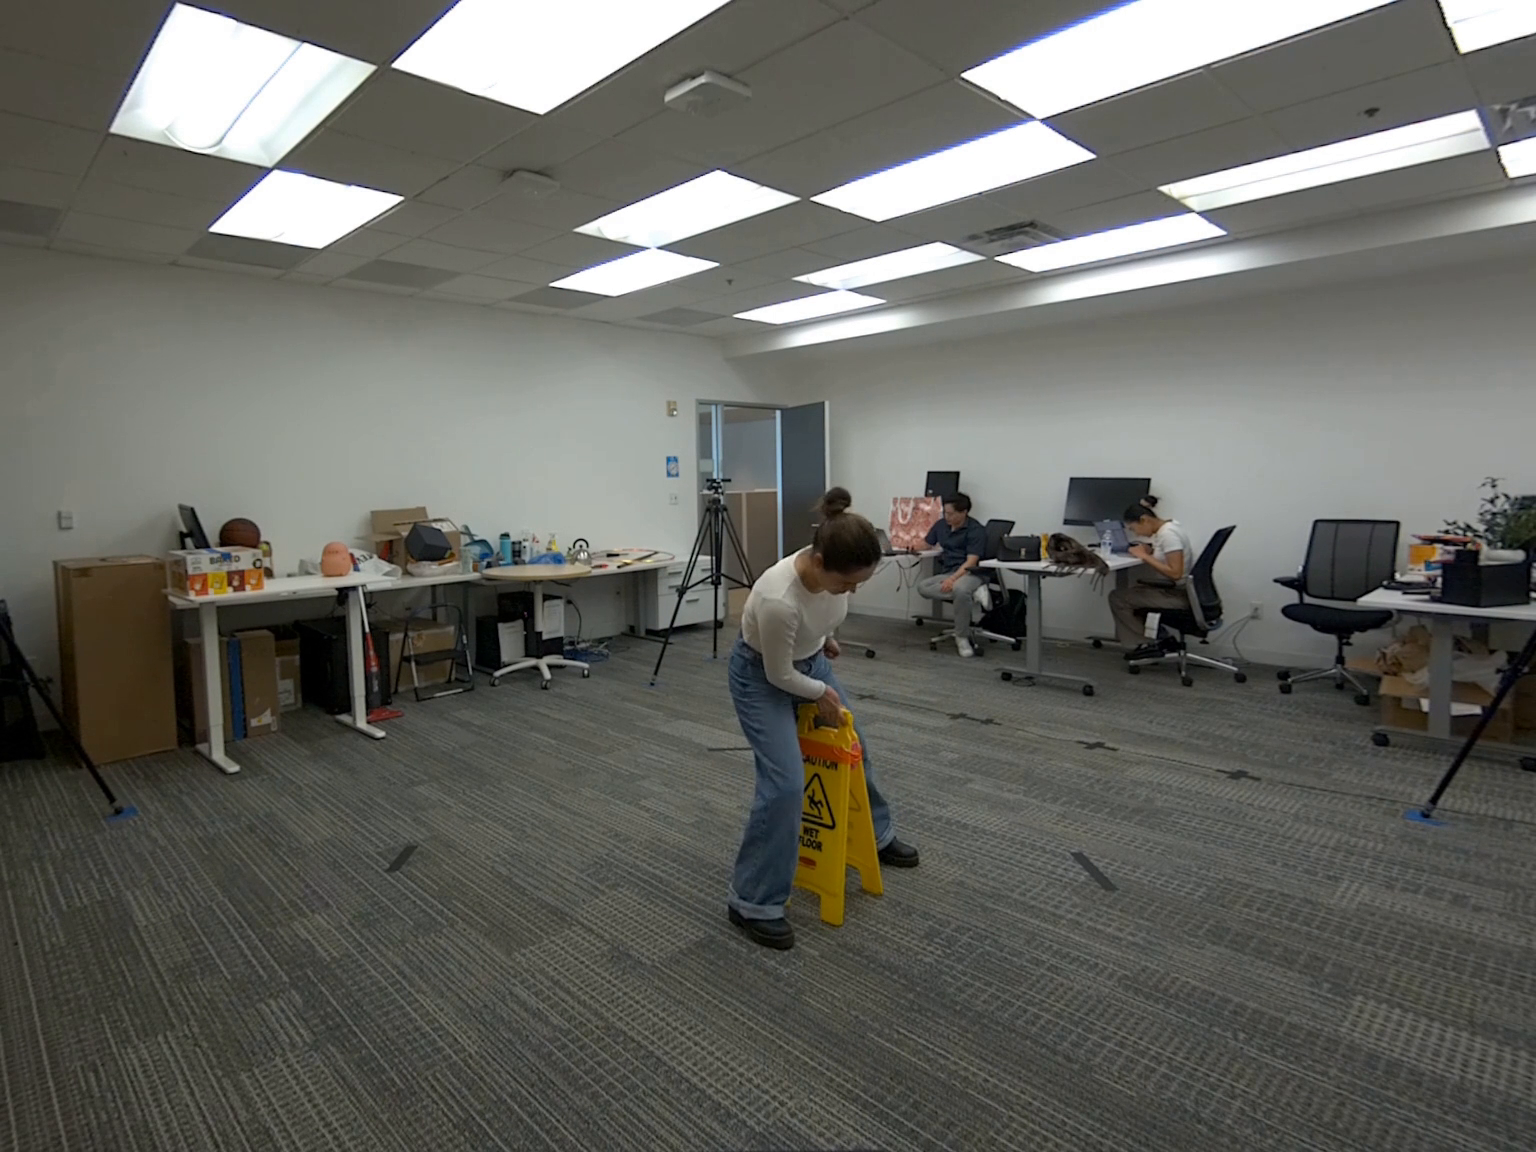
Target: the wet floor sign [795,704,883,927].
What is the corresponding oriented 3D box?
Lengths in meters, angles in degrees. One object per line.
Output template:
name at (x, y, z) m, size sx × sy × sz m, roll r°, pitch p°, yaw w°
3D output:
wet floor sign at (0.193, 0.753, 2.826) m, size 0.291 × 0.644 × 0.282 m, roll 2°, pitch 5°, yaw 40°
